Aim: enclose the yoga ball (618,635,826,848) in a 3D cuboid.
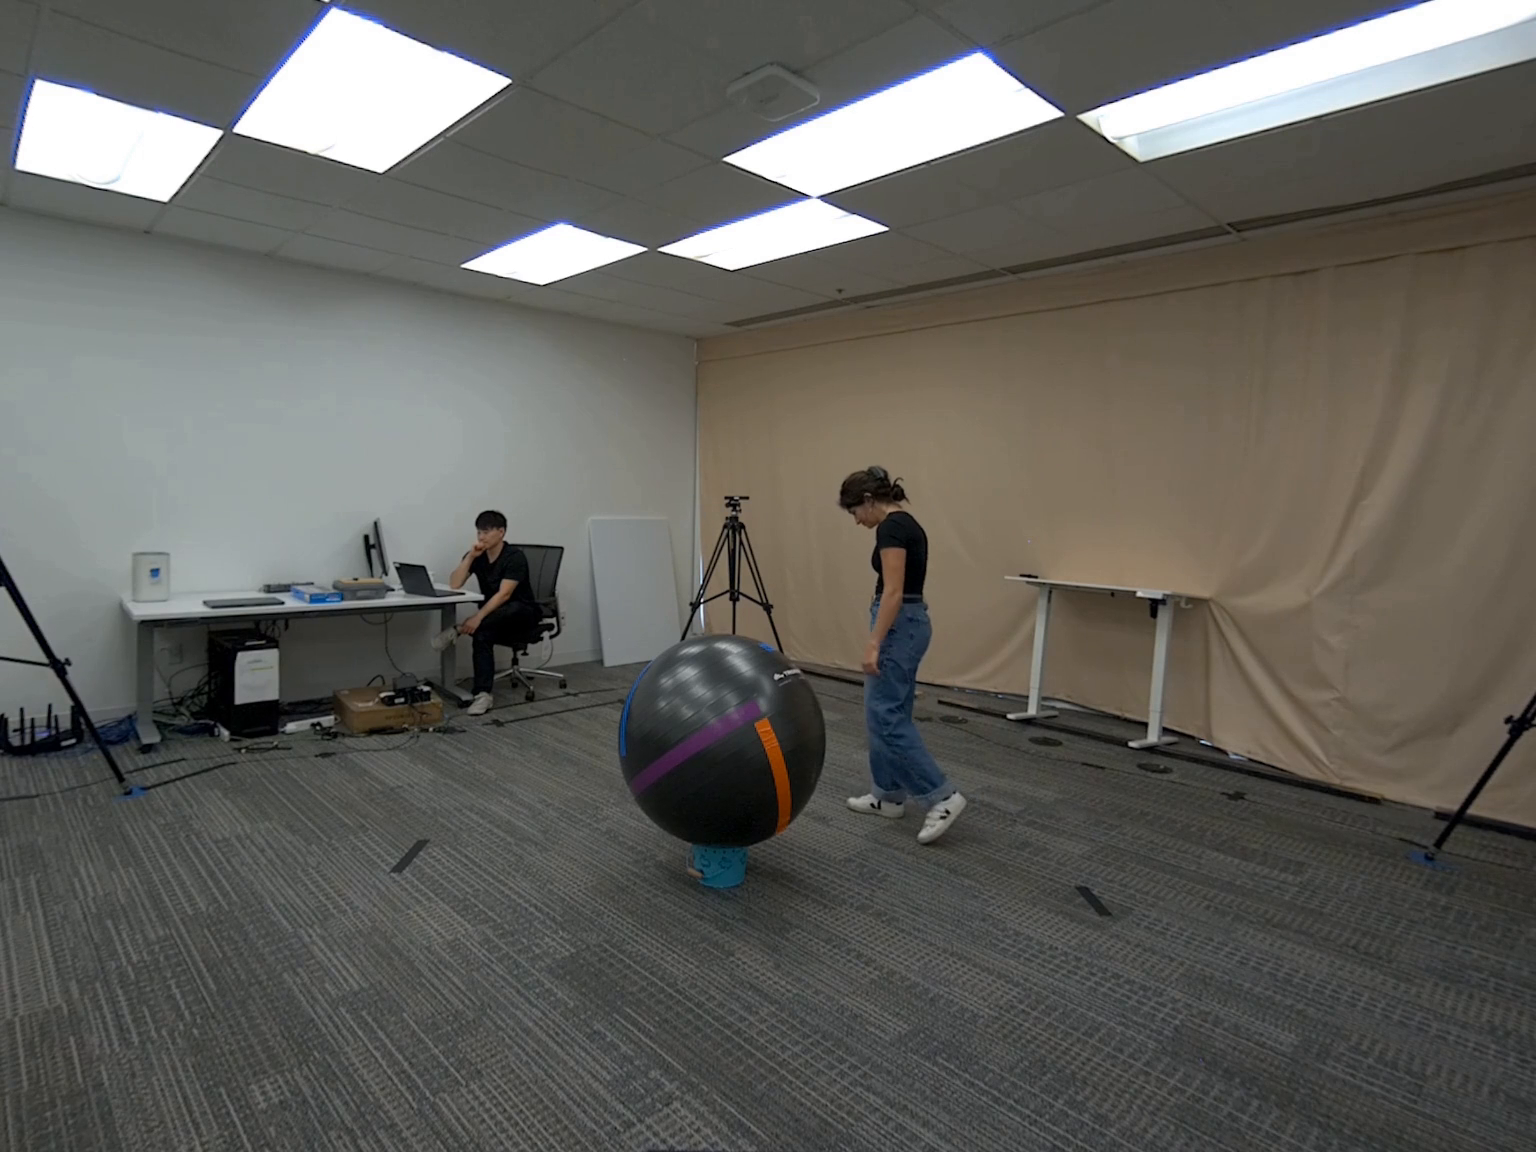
[{"bbox_3d":[-0.170,0.589,3.068,0.757,0.756,0.760,1,4,-1],"label":"yoga ball"}]
